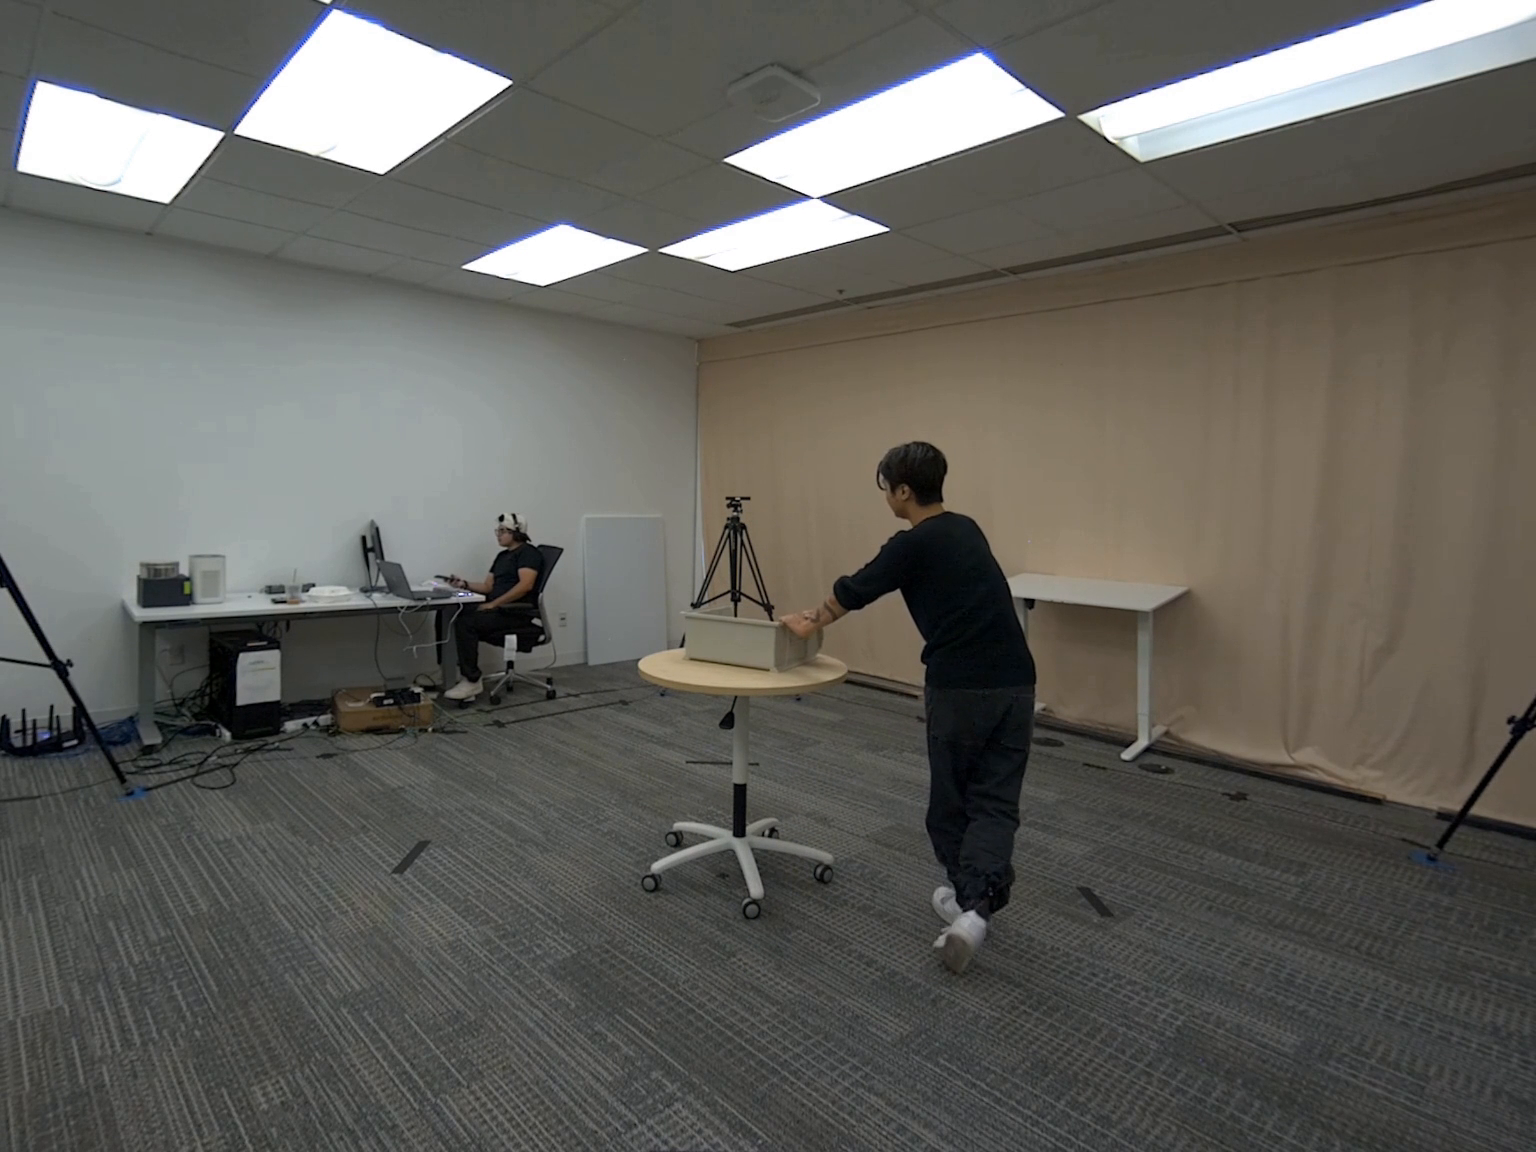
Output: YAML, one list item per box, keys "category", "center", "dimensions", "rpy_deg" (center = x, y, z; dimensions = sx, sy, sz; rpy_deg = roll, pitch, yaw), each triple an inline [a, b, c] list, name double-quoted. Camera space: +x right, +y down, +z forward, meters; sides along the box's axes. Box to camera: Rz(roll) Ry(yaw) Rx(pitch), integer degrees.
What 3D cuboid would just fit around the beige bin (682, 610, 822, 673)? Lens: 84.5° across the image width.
- category: "beige bin"
  center: [-0.064, 0.223, 3.194]
  dimensions: [0.432, 0.188, 0.371]
  rpy_deg: [5, 9, 31]
